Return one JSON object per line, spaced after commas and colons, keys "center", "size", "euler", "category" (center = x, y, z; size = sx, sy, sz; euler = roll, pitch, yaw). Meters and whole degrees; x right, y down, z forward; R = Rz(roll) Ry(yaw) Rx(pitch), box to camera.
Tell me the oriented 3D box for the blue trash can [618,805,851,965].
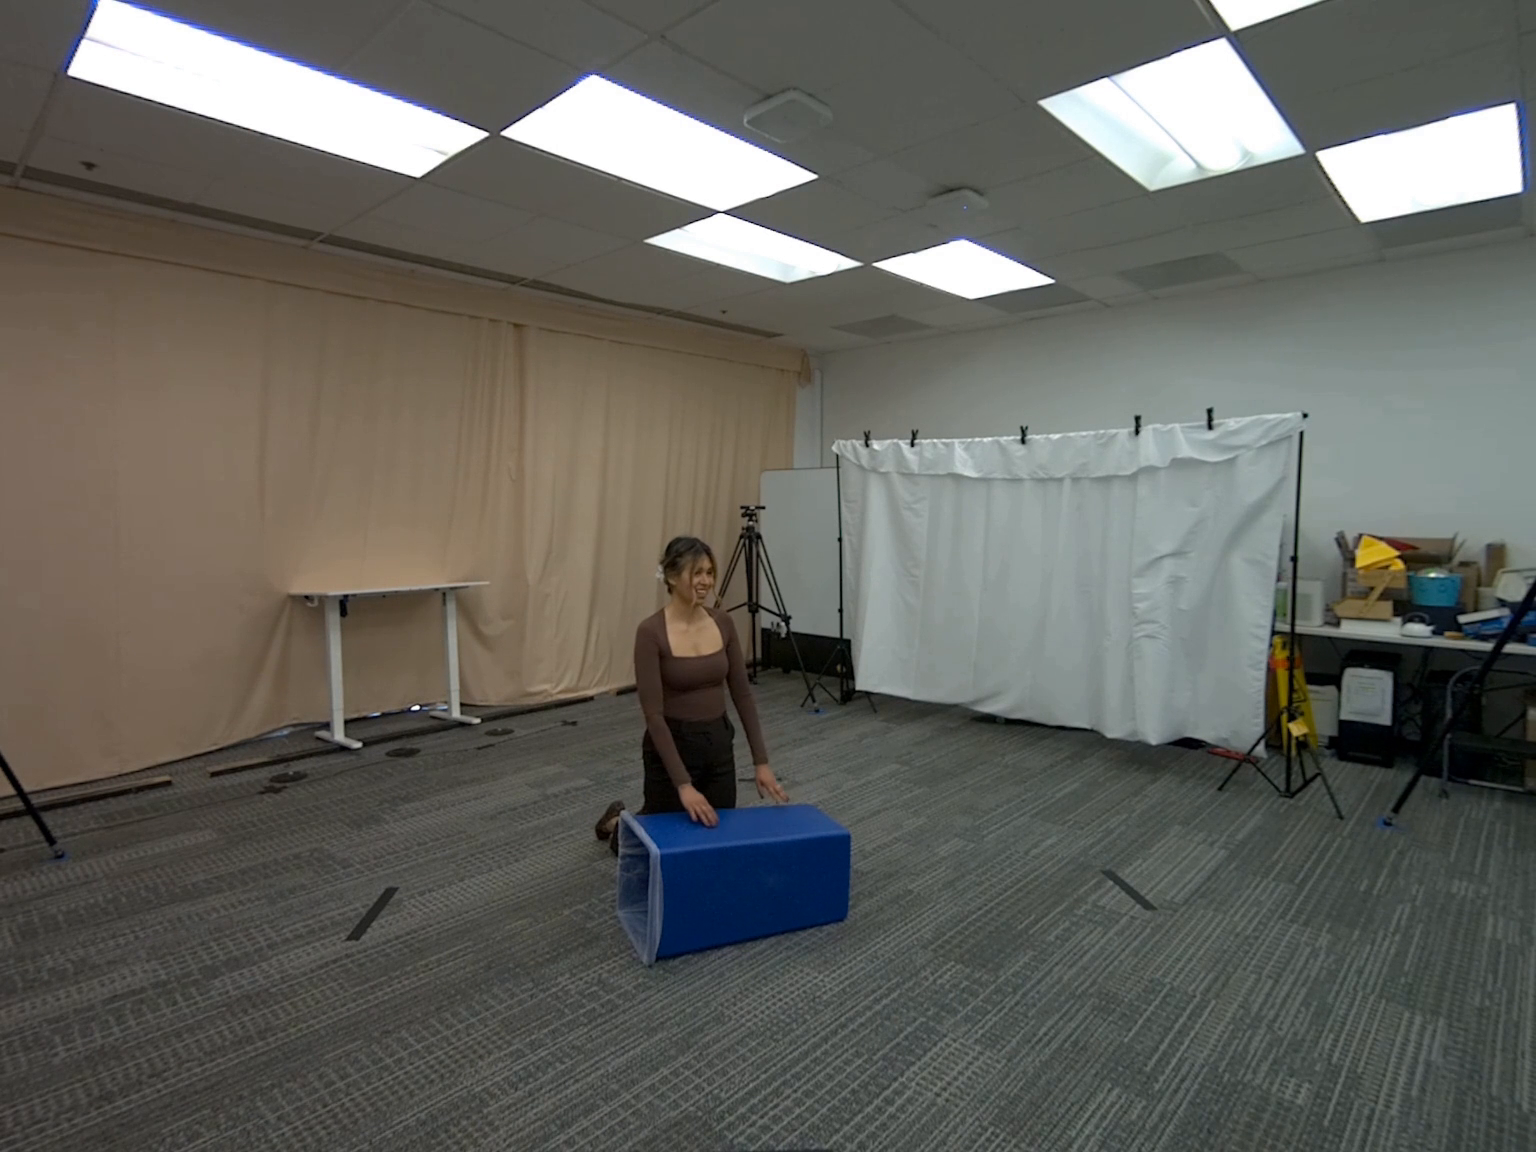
{"center": [-0.106, 0.983, 2.816], "size": [0.698, 0.377, 0.383], "euler": [0, 2, -22], "category": "blue trash can"}
